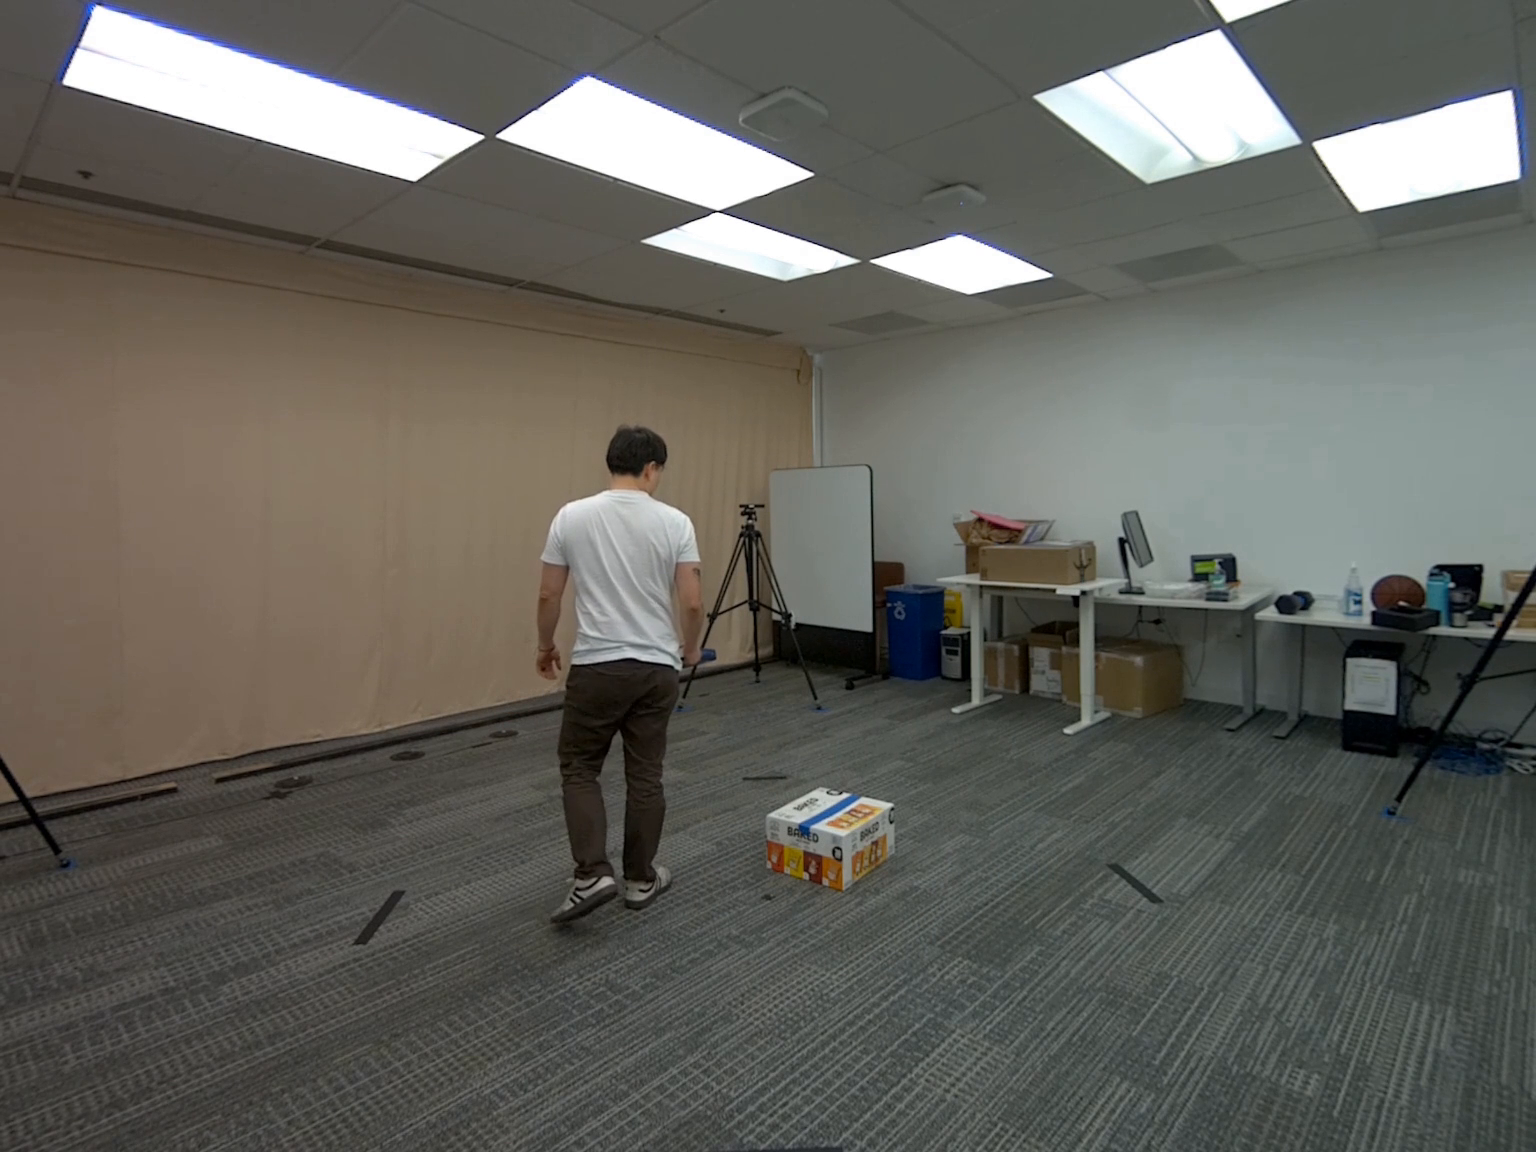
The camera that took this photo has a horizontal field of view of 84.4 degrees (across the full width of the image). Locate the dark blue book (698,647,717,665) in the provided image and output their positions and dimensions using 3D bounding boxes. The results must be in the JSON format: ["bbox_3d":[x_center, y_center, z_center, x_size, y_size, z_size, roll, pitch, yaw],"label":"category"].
[{"bbox_3d":[-0.342,0.314,3.231,0.167,0.045,0.238,-15,-13,24],"label":"dark blue book"}]
